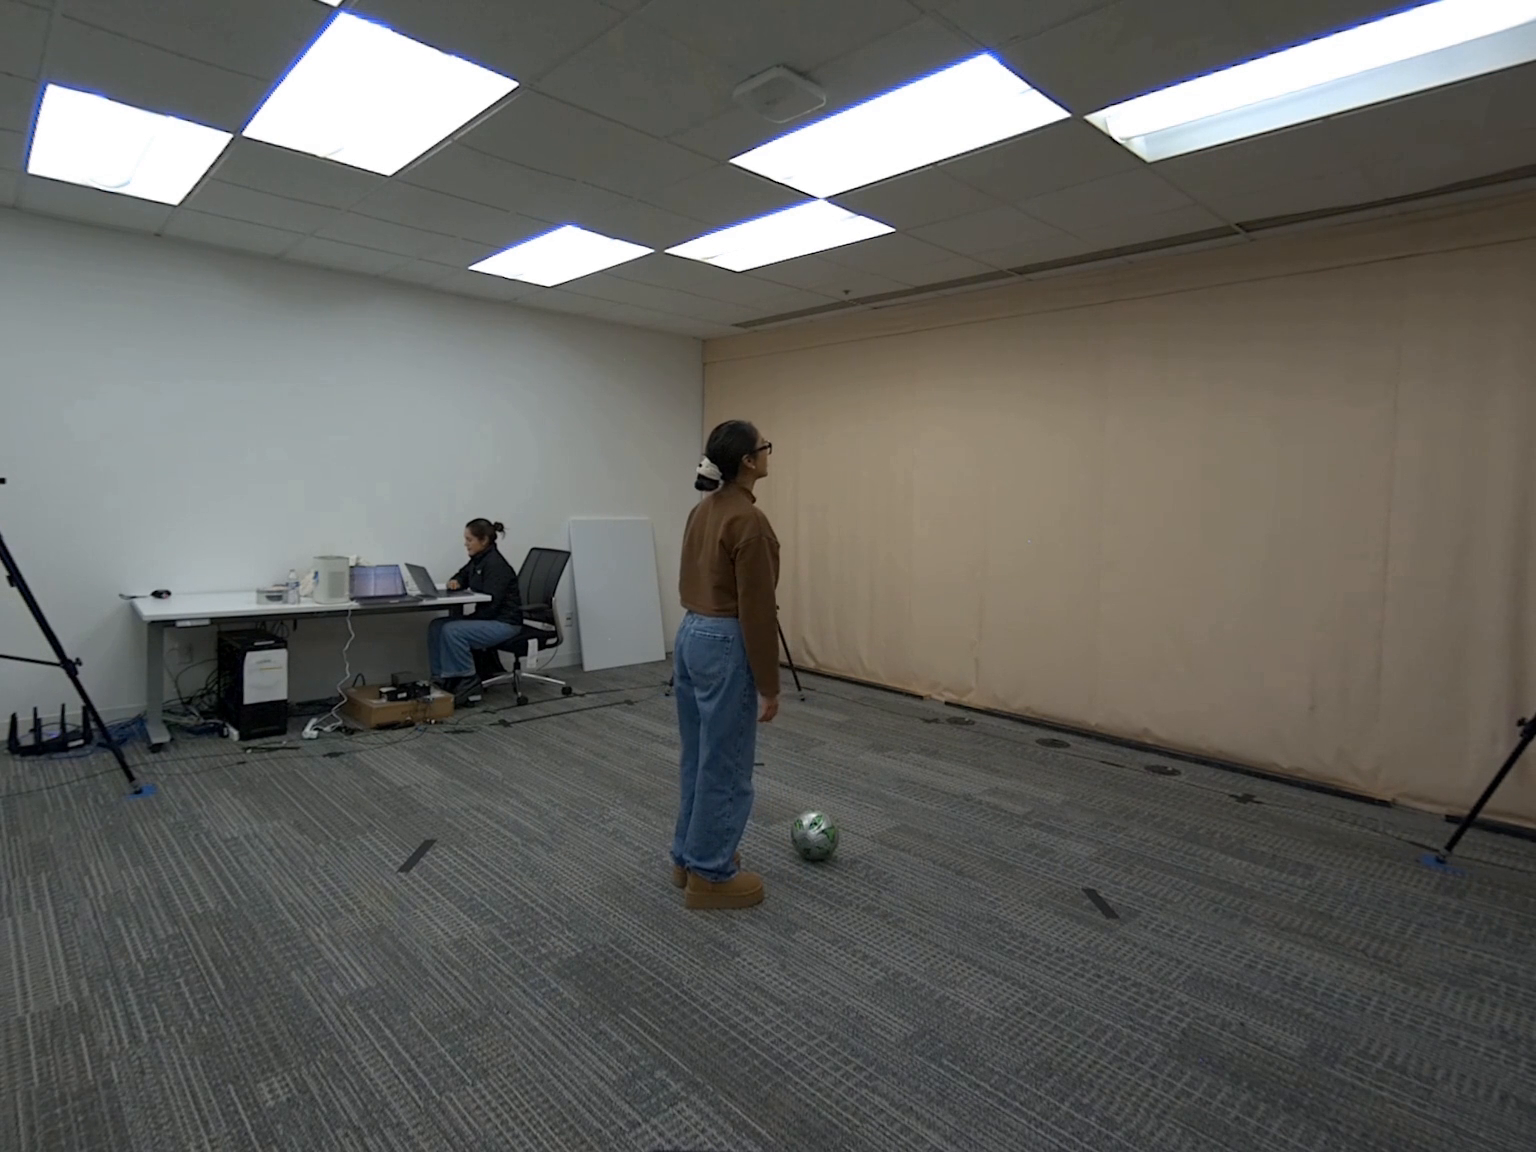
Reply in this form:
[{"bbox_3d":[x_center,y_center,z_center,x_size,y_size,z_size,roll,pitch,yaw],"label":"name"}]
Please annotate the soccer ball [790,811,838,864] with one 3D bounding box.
[{"bbox_3d":[0.174,1.005,3.271,0.187,0.187,0.188,1,4,-1],"label":"soccer ball"}]
